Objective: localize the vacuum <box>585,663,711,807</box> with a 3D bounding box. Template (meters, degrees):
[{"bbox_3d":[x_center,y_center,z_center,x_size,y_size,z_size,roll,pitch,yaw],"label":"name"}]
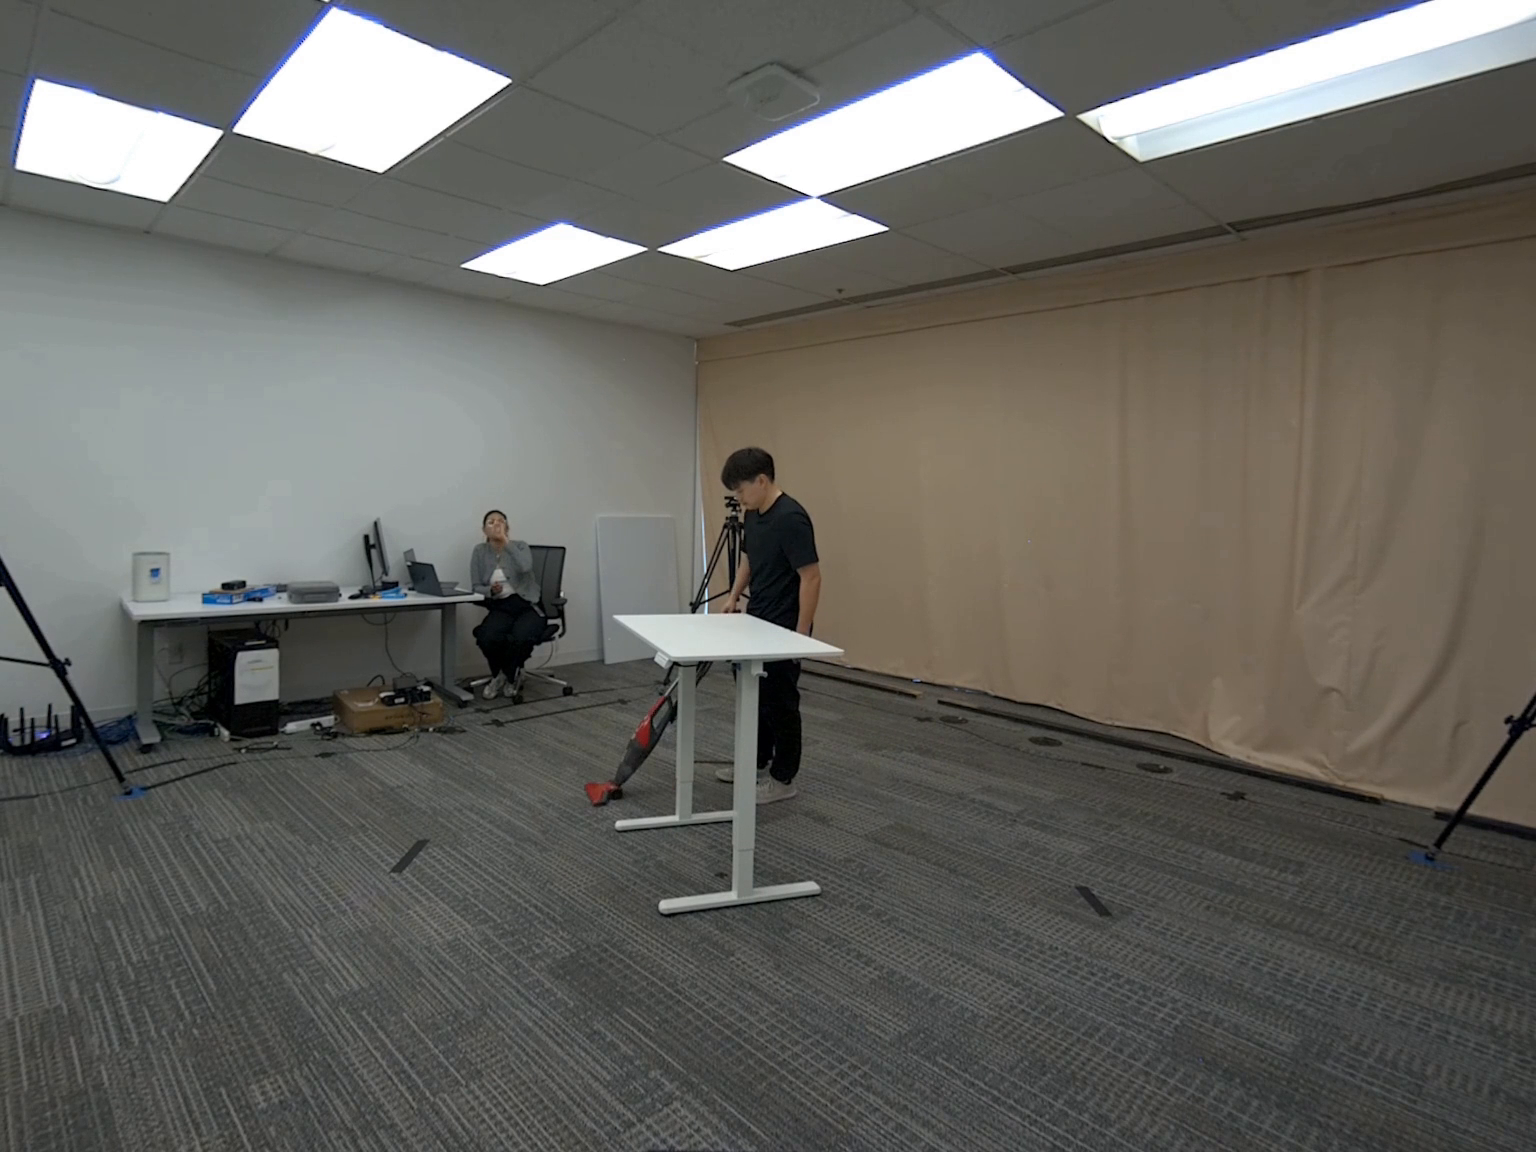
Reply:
[{"bbox_3d":[-0.470,0.589,3.982,0.141,1.051,0.258,38,-10,-23],"label":"vacuum"}]
